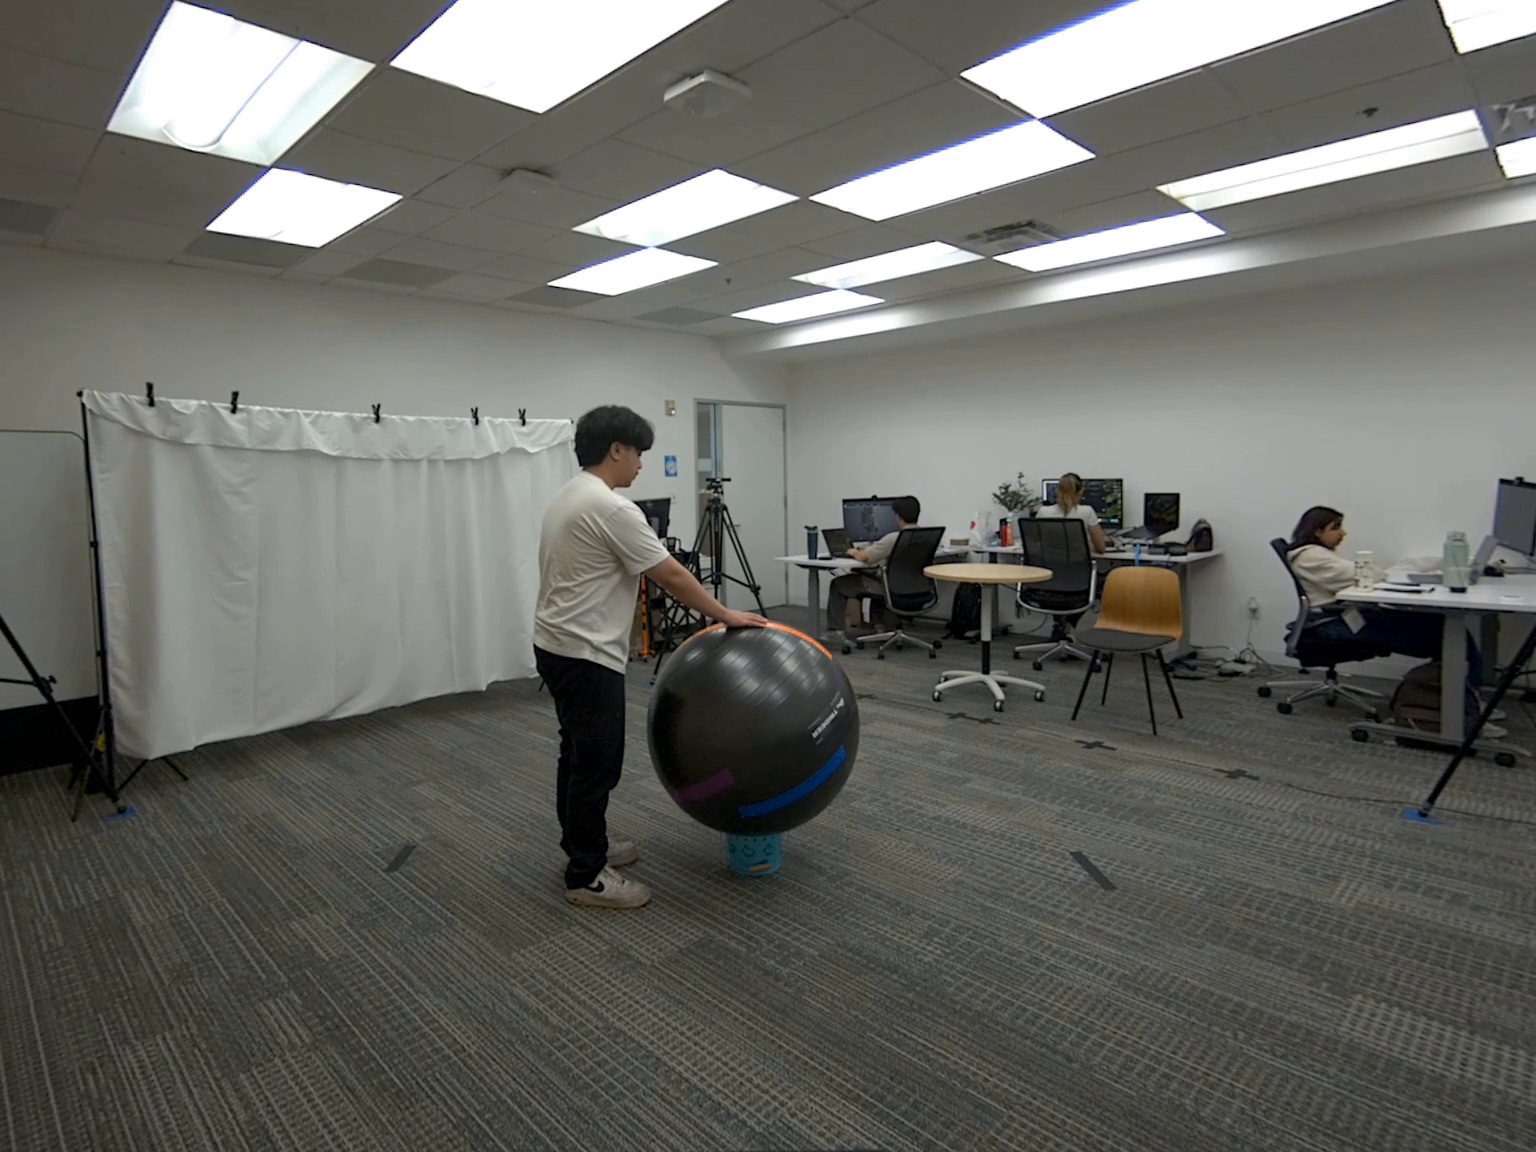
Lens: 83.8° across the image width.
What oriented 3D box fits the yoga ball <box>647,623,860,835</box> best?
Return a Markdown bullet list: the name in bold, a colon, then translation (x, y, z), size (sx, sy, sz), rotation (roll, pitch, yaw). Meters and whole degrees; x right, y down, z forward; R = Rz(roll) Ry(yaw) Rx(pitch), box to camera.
- **yoga ball**: translation (-0.052, 0.540, 3.060), size (0.757, 0.755, 0.762), rotation (-1, 5, -2)
